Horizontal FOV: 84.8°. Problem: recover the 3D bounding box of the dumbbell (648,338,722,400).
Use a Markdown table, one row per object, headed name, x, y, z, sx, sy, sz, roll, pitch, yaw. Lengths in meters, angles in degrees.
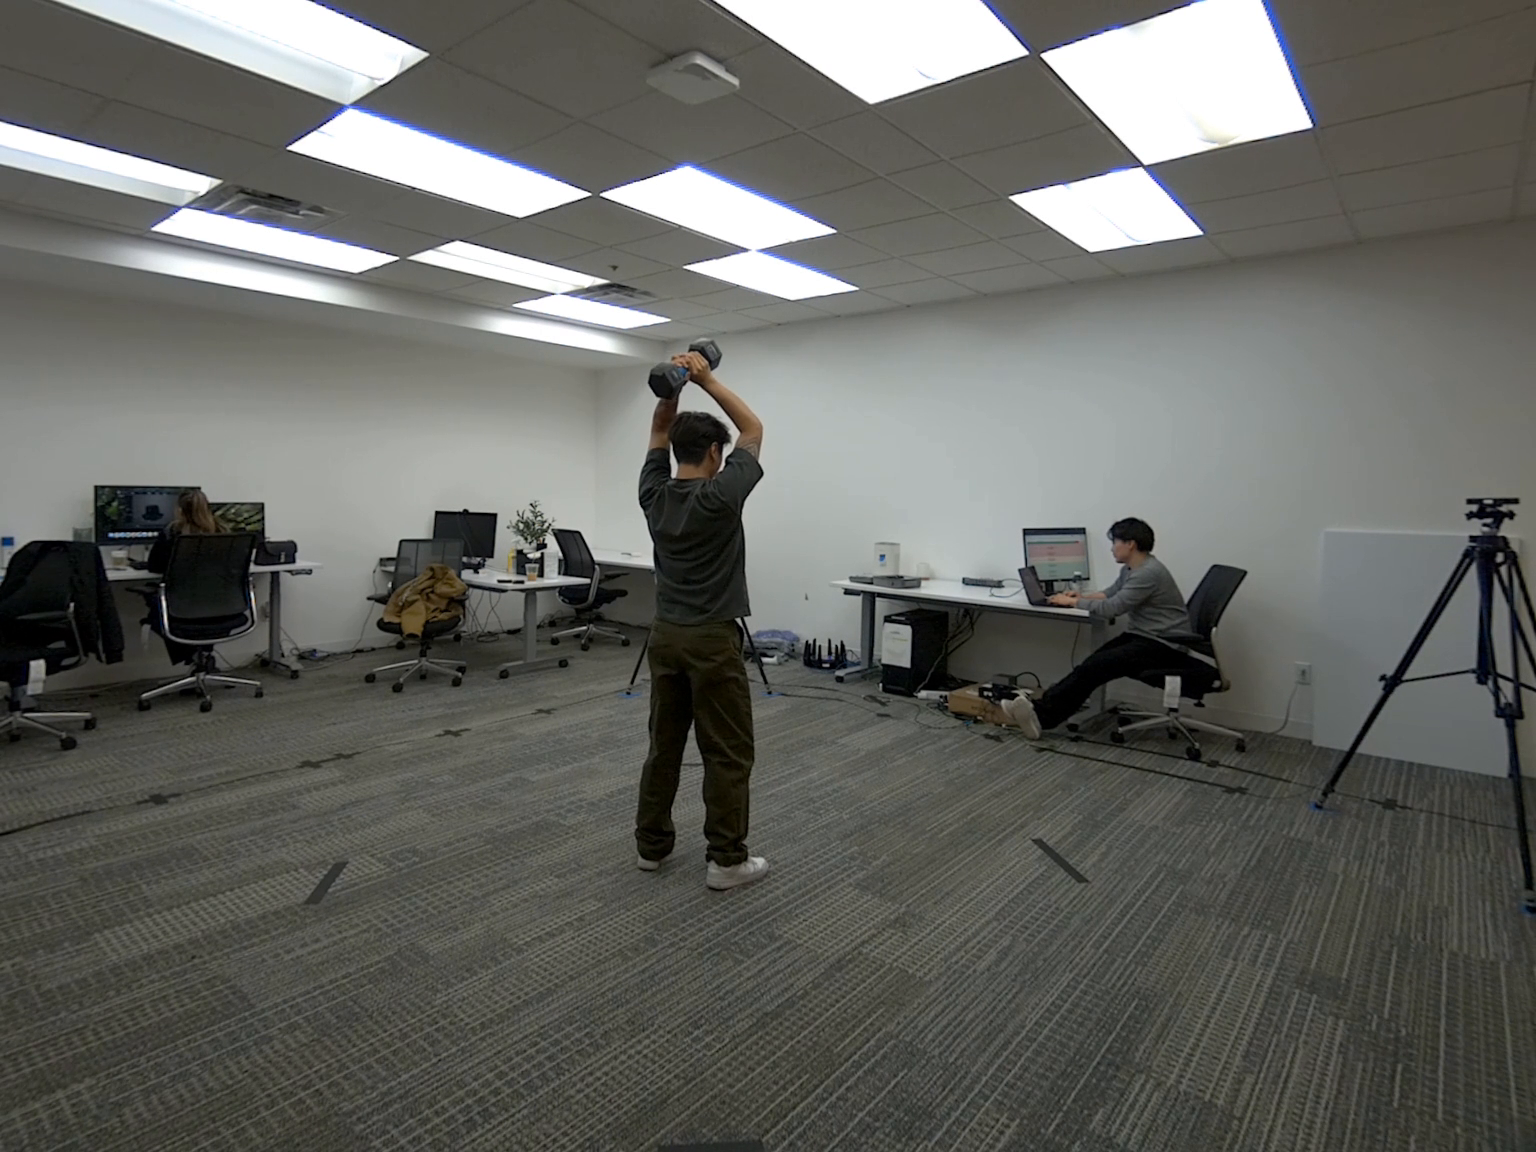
| name | x | y | z | sx | sy | sz | roll | pitch | yaw |
| --- | --- | --- | --- | --- | --- | --- | --- | --- | --- |
| dumbbell | -0.296 | -0.735 | 2.997 | 0.111 | 0.121 | 0.293 | -22 | 19 | 51 |
